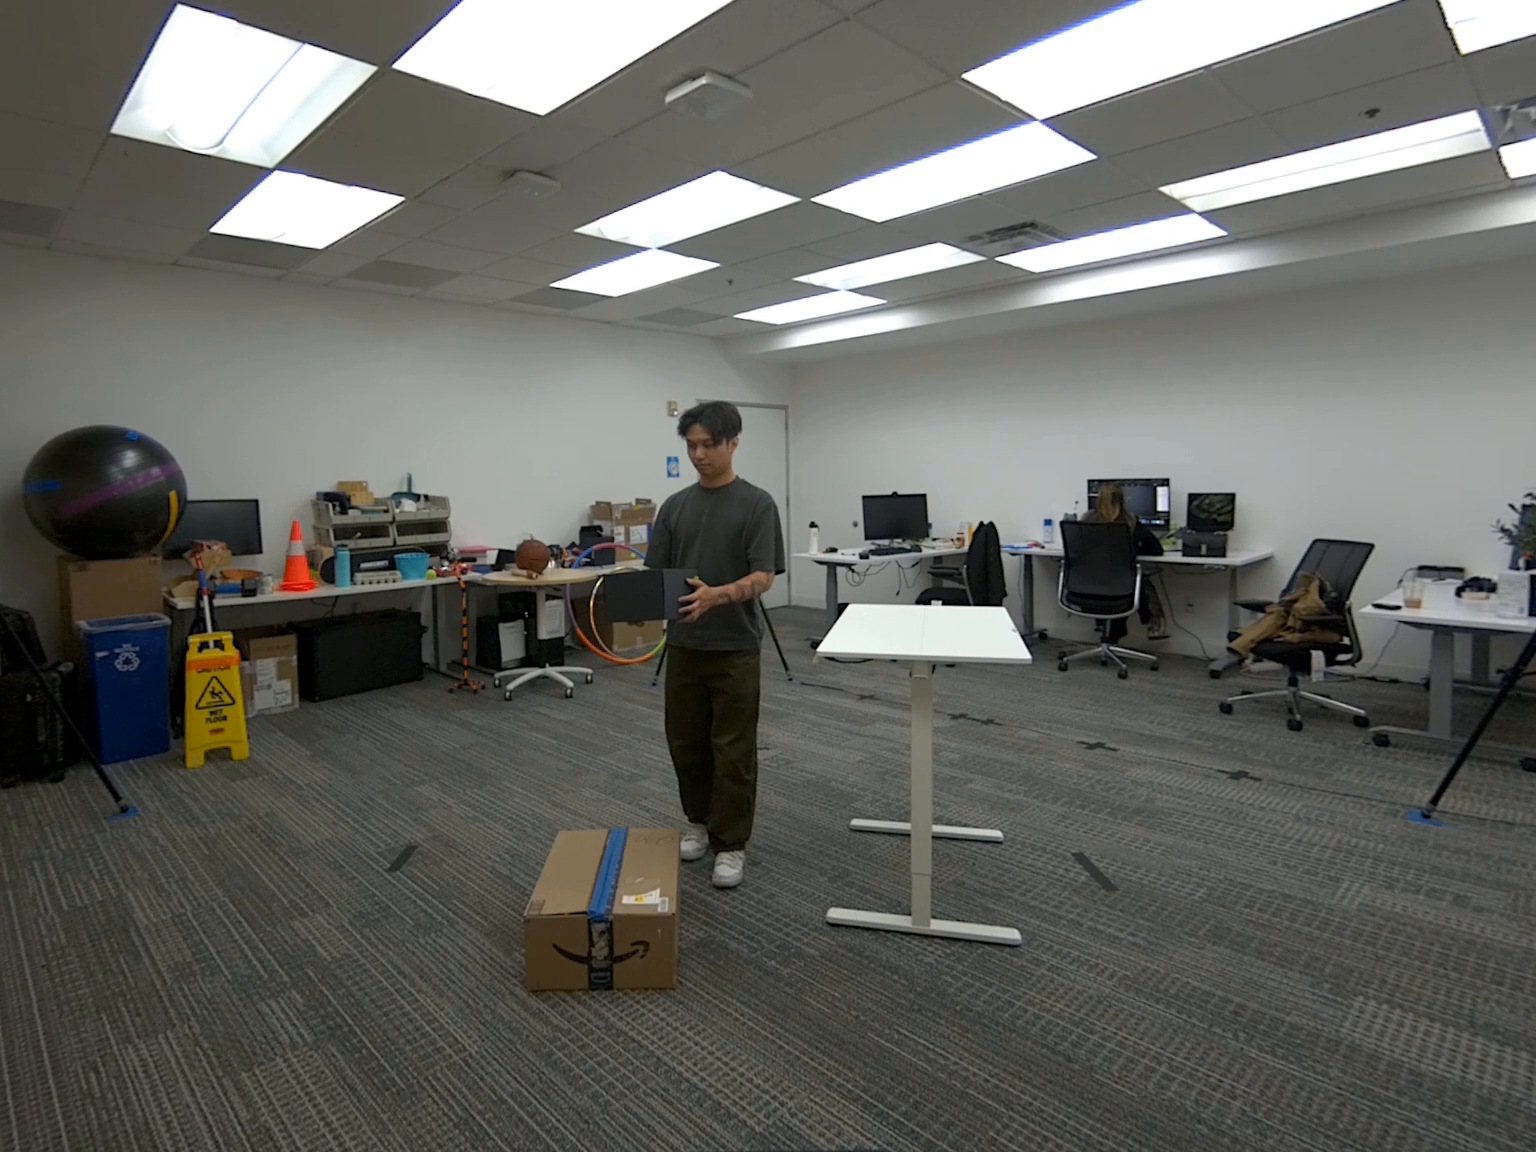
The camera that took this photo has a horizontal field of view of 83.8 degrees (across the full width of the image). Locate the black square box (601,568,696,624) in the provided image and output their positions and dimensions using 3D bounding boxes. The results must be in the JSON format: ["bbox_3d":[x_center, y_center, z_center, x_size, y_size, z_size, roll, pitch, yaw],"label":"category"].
[{"bbox_3d":[-0.388,0.064,2.734,0.232,0.156,0.212,-4,-3,22],"label":"black square box"}]
